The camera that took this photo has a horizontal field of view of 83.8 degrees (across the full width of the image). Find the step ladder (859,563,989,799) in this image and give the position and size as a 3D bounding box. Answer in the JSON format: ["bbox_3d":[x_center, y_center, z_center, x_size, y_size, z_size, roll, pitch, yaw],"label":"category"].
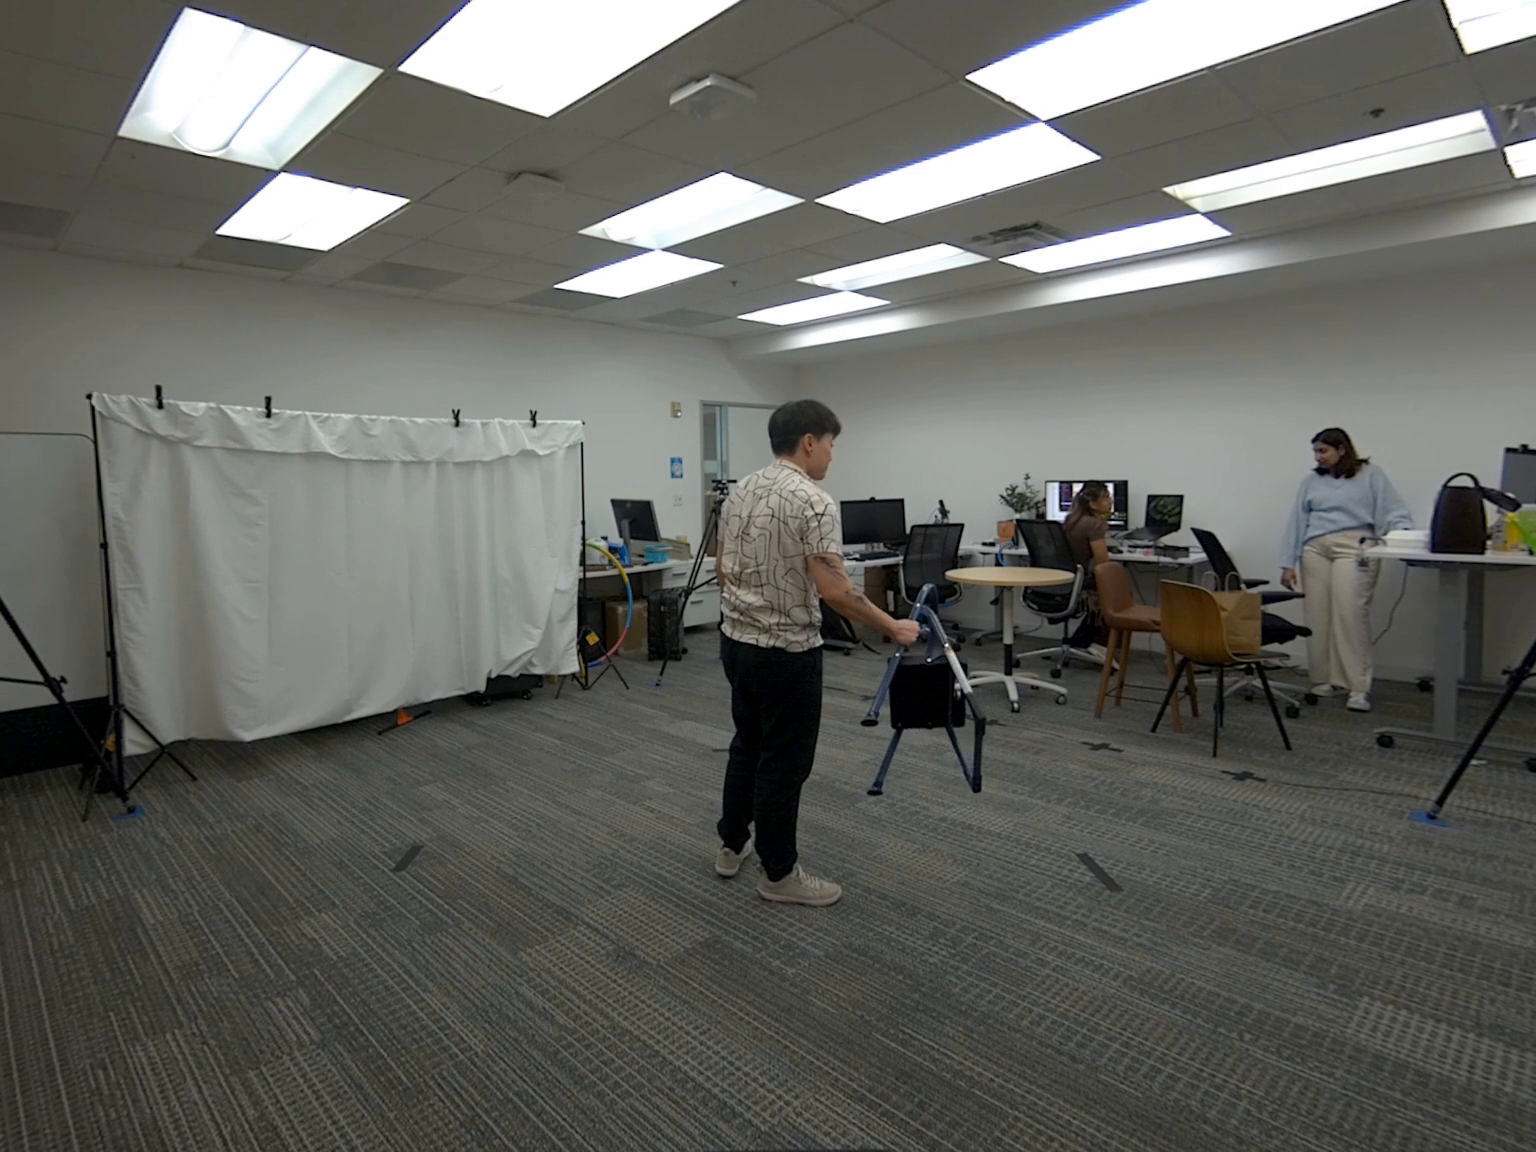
[{"bbox_3d":[0.486,0.333,2.783,0.352,0.417,0.620,-3,46,9],"label":"step ladder"}]
